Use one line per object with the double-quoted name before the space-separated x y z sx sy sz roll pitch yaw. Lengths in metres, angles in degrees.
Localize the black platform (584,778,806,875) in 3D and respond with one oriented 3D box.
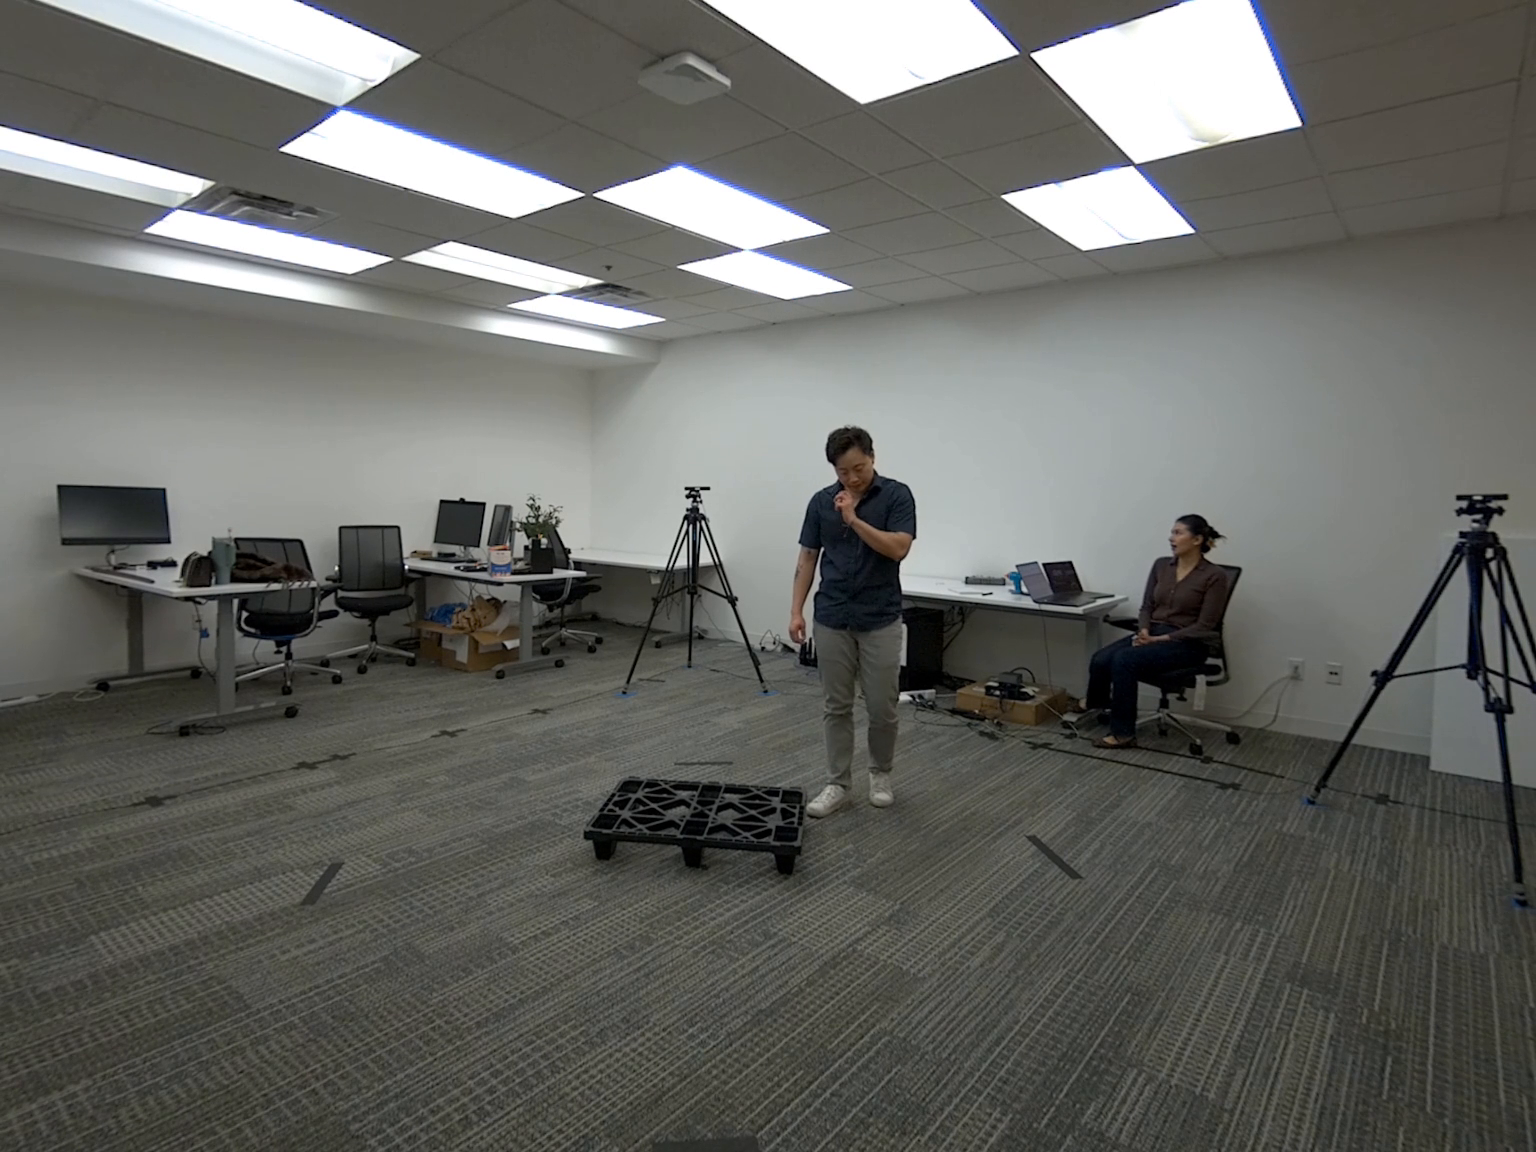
"black platform" -0.265 0.974 3.339 0.812 0.143 0.603 1 6 7
